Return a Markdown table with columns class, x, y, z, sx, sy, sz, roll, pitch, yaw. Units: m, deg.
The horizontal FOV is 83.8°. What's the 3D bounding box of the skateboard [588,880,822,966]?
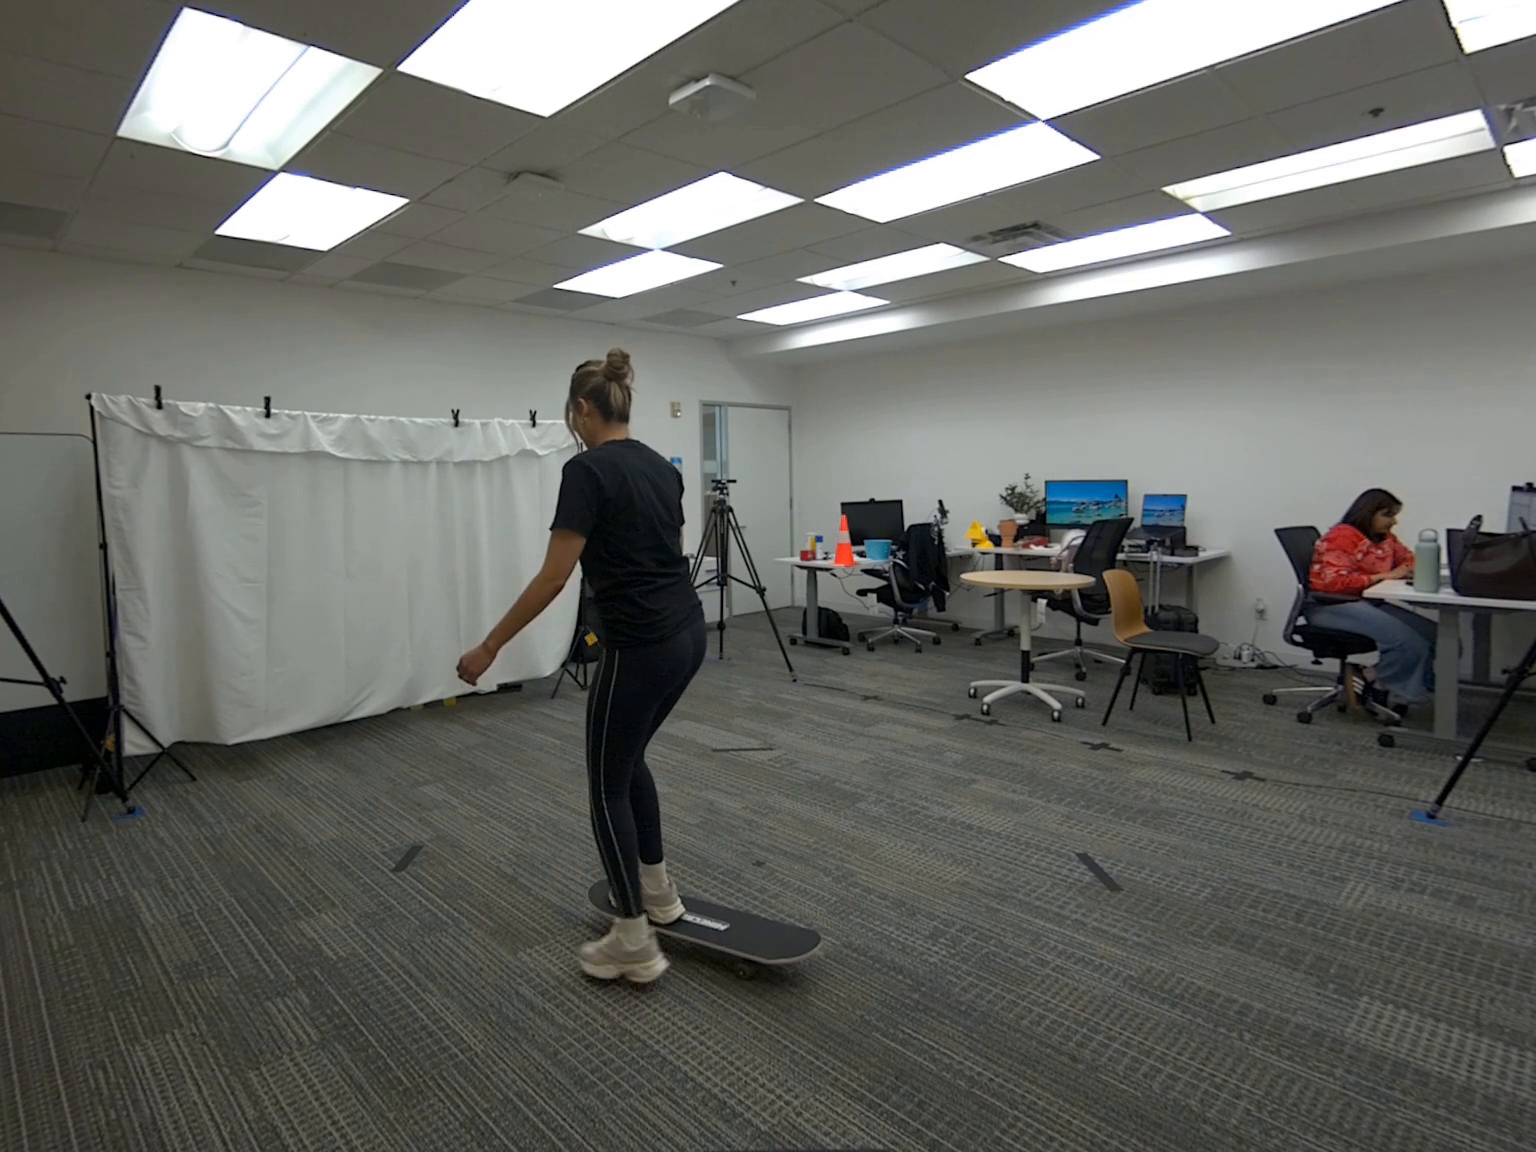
| class | x | y | z | sx | sy | sz | roll | pitch | yaw |
| --- | --- | --- | --- | --- | --- | --- | --- | --- | --- |
| skateboard | -0.207 | 1.057 | 2.561 | 0.806 | 0.110 | 0.190 | 2 | 8 | 30 |
